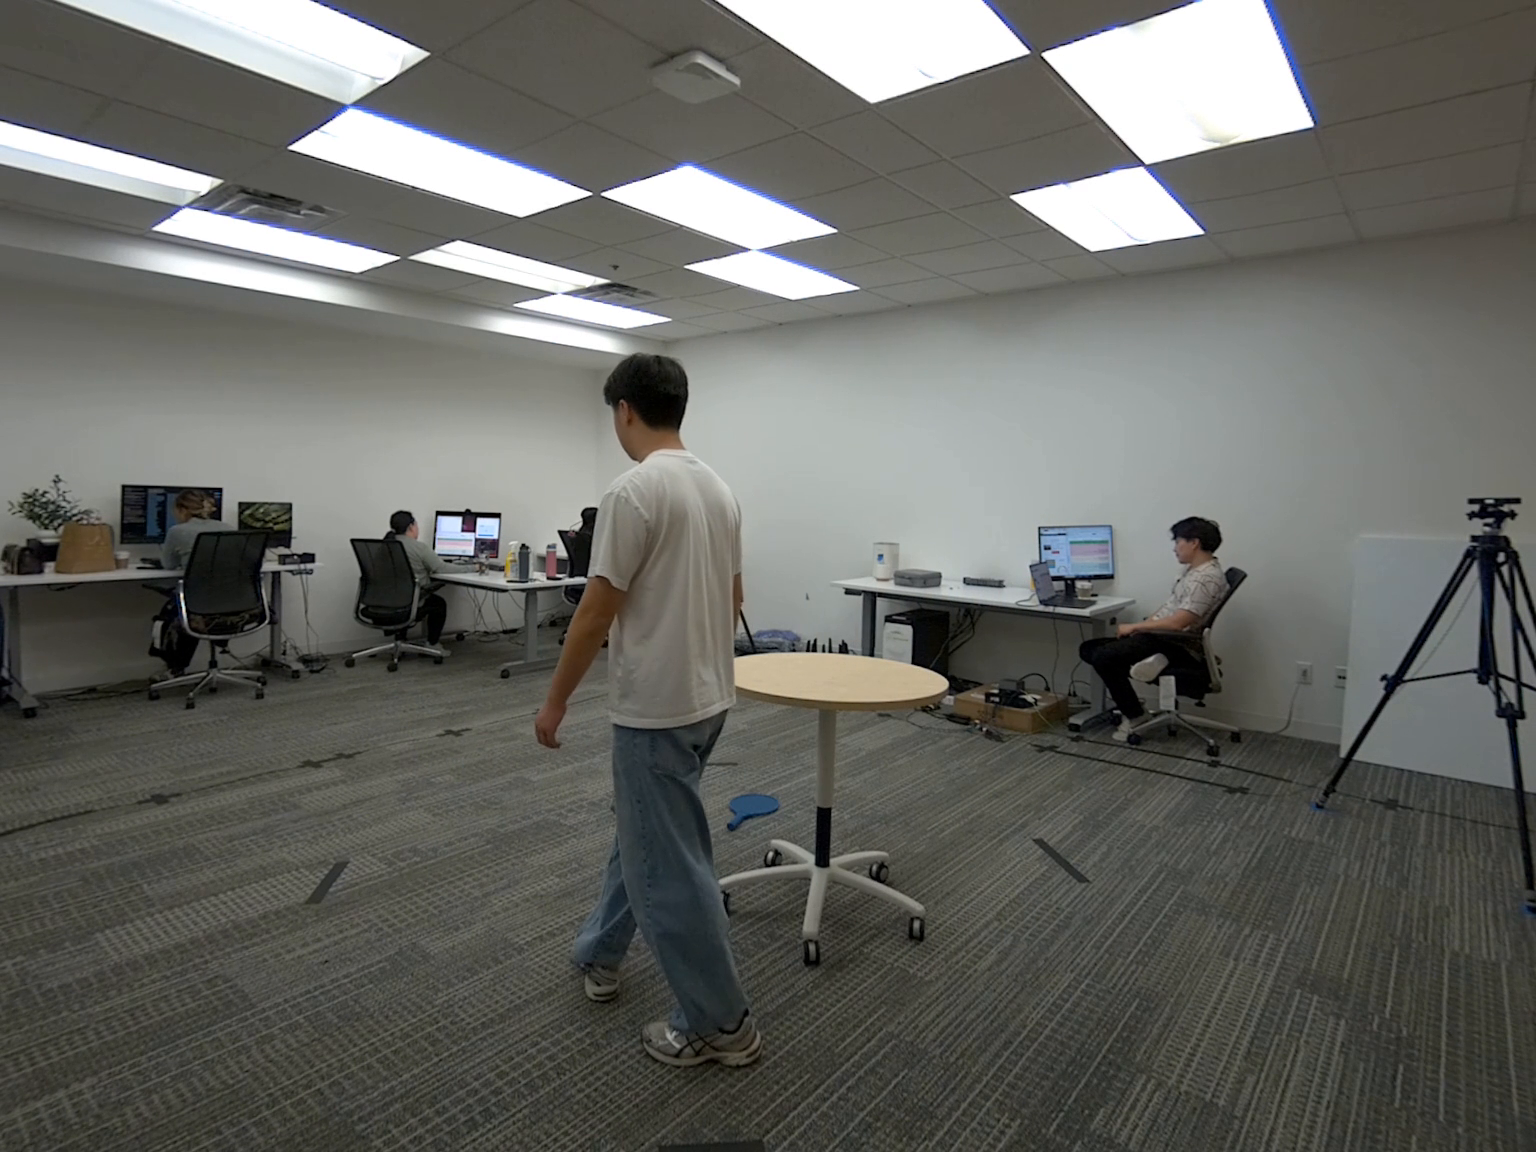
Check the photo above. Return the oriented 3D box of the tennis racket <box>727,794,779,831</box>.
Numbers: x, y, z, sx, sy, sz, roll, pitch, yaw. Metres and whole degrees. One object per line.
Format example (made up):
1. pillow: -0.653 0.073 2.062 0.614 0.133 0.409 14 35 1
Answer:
1. tennis racket: -0.097 1.001 3.653 0.218 0.032 0.424 2 4 20
